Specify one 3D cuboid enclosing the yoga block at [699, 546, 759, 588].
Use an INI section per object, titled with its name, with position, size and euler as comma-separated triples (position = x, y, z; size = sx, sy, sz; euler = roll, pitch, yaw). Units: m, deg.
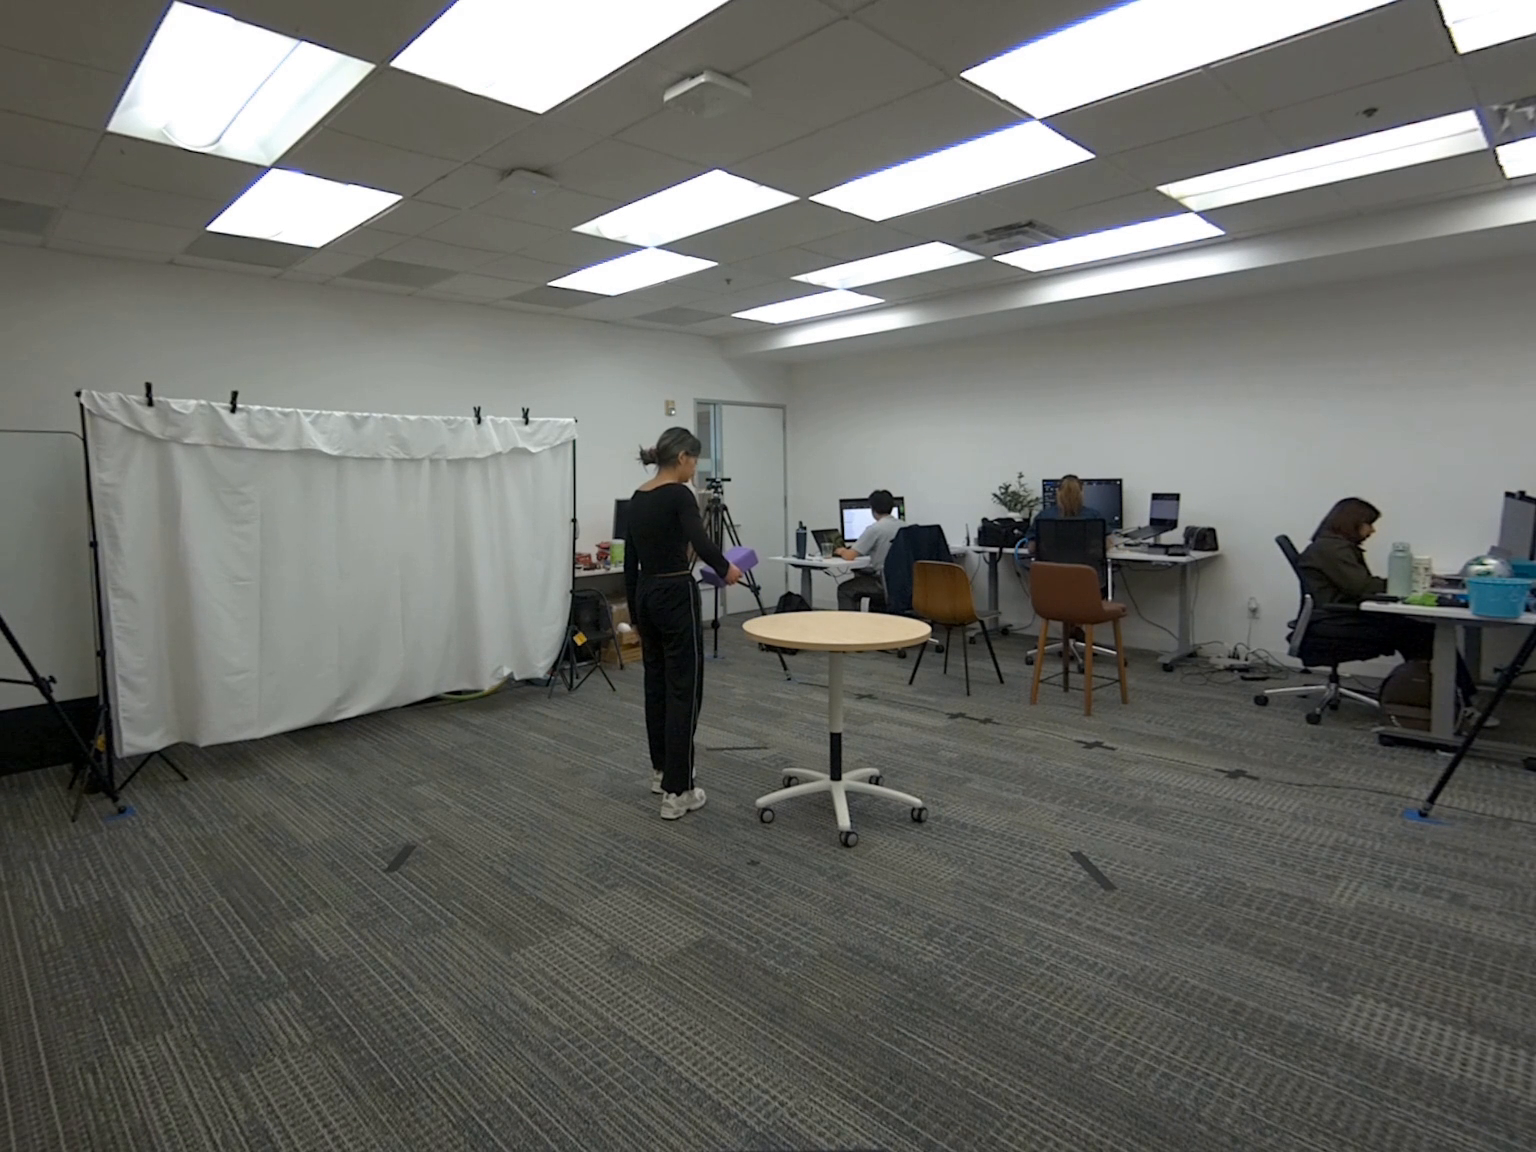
[yoga block]
position = -0.176, -0.041, 3.812
size = 0.228, 0.074, 0.154
euler = -36, 28, -28
